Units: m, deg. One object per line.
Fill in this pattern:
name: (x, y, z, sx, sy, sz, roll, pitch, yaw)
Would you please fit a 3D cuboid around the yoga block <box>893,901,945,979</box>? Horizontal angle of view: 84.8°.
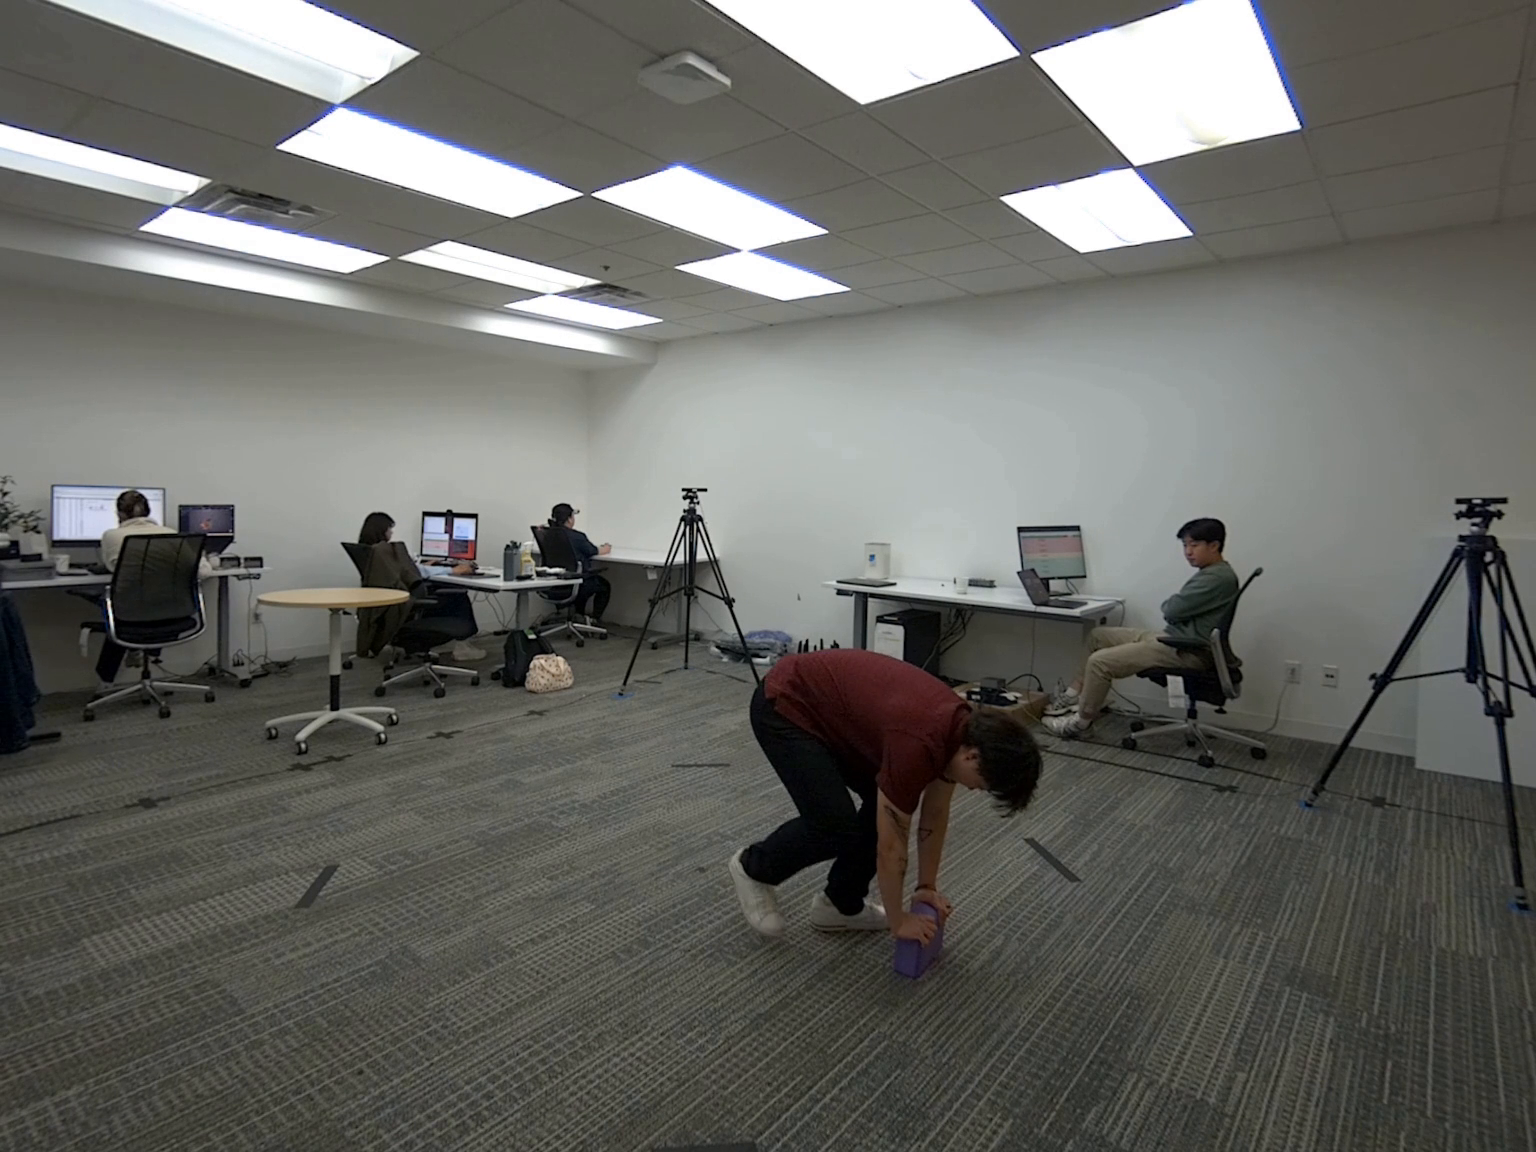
yoga block: (0.448, 1.069, 2.543, 0.079, 0.148, 0.223, 9, 7, 34)
